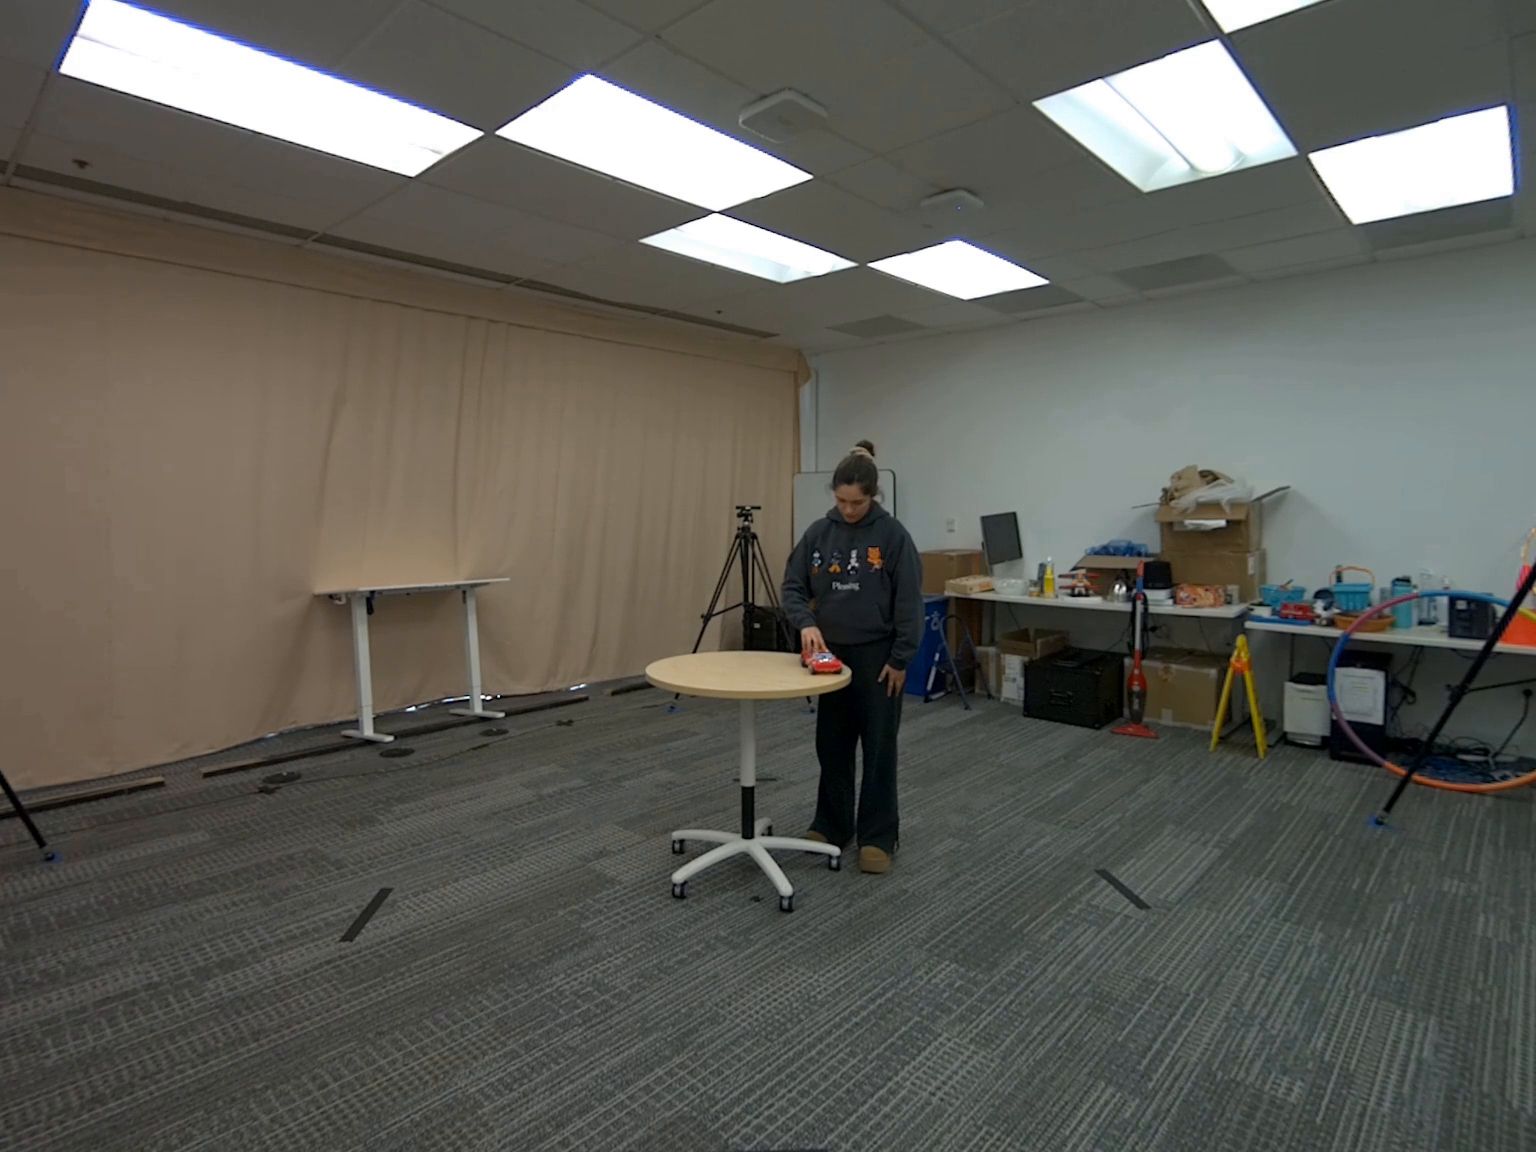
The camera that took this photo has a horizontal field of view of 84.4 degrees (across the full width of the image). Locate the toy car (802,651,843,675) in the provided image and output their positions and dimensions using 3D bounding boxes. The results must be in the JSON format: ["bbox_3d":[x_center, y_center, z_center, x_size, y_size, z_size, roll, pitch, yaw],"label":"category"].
[{"bbox_3d":[0.208,0.311,3.142,0.129,0.082,0.258,-1,12,-6],"label":"toy car"}]
